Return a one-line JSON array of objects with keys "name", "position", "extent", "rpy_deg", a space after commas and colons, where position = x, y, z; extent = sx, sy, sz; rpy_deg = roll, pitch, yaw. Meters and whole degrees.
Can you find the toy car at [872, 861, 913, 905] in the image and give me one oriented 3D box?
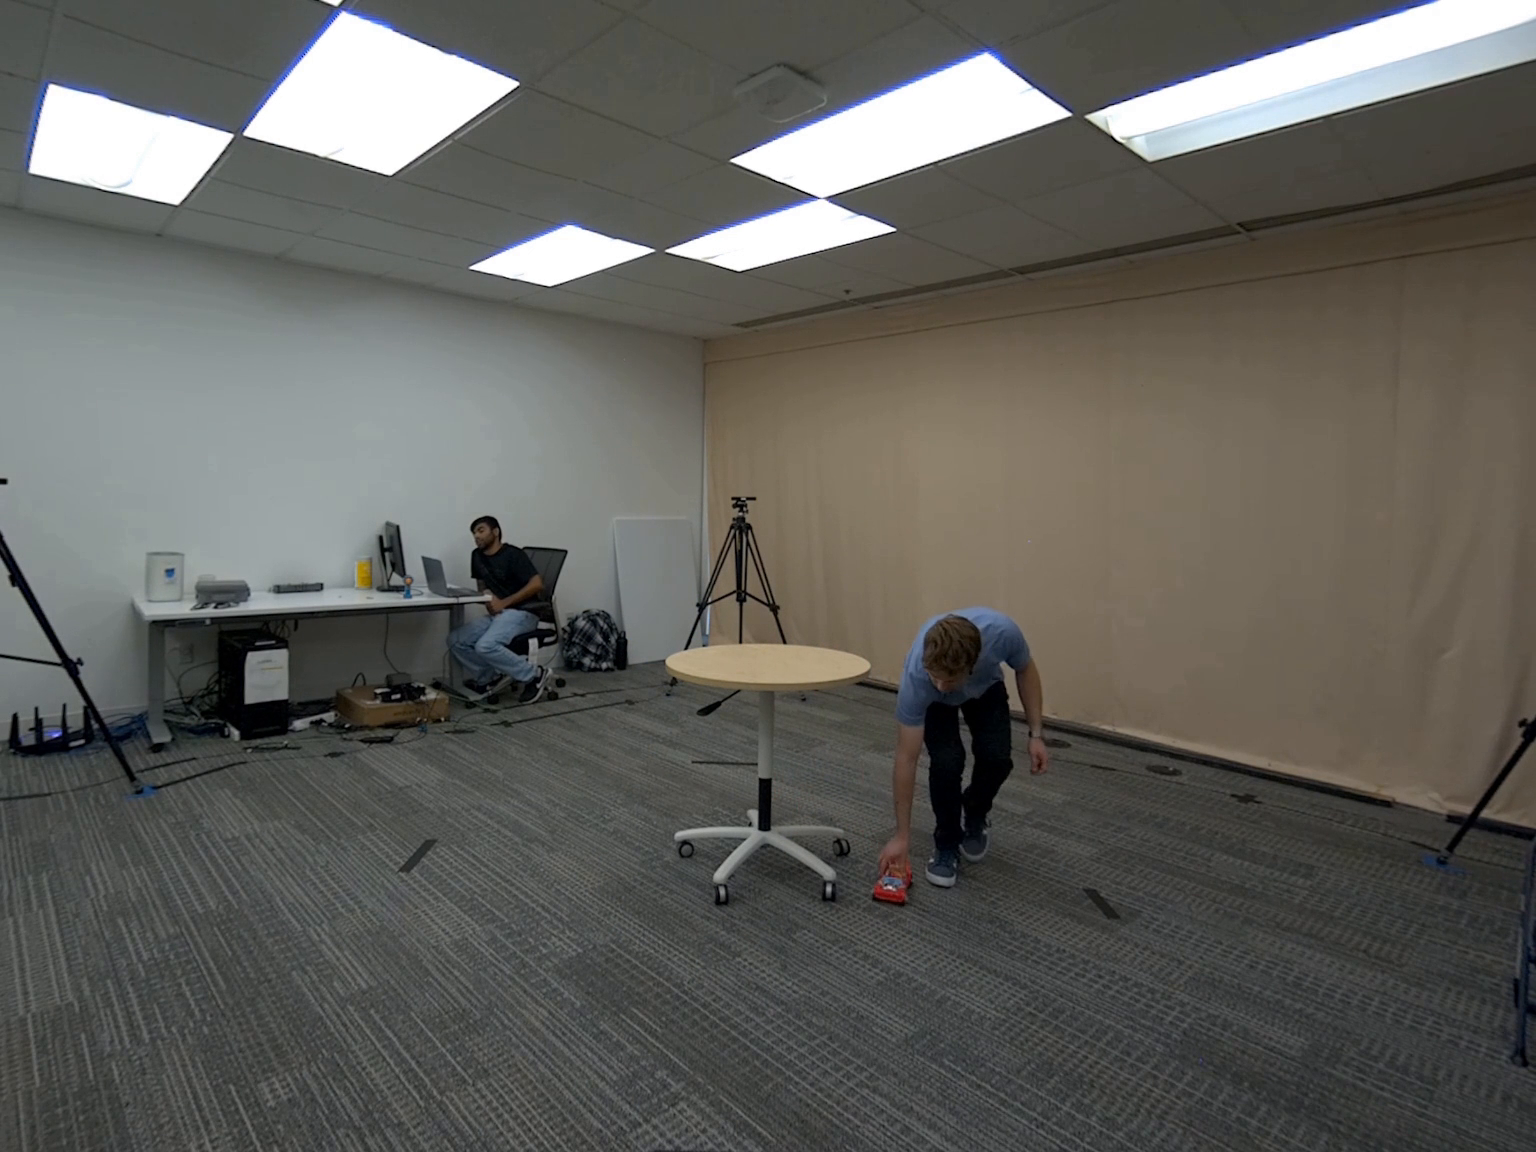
[{"name": "toy car", "position": [0.451, 1.101, 3.020], "extent": [0.132, 0.082, 0.254], "rpy_deg": [2, 17, 16]}]
